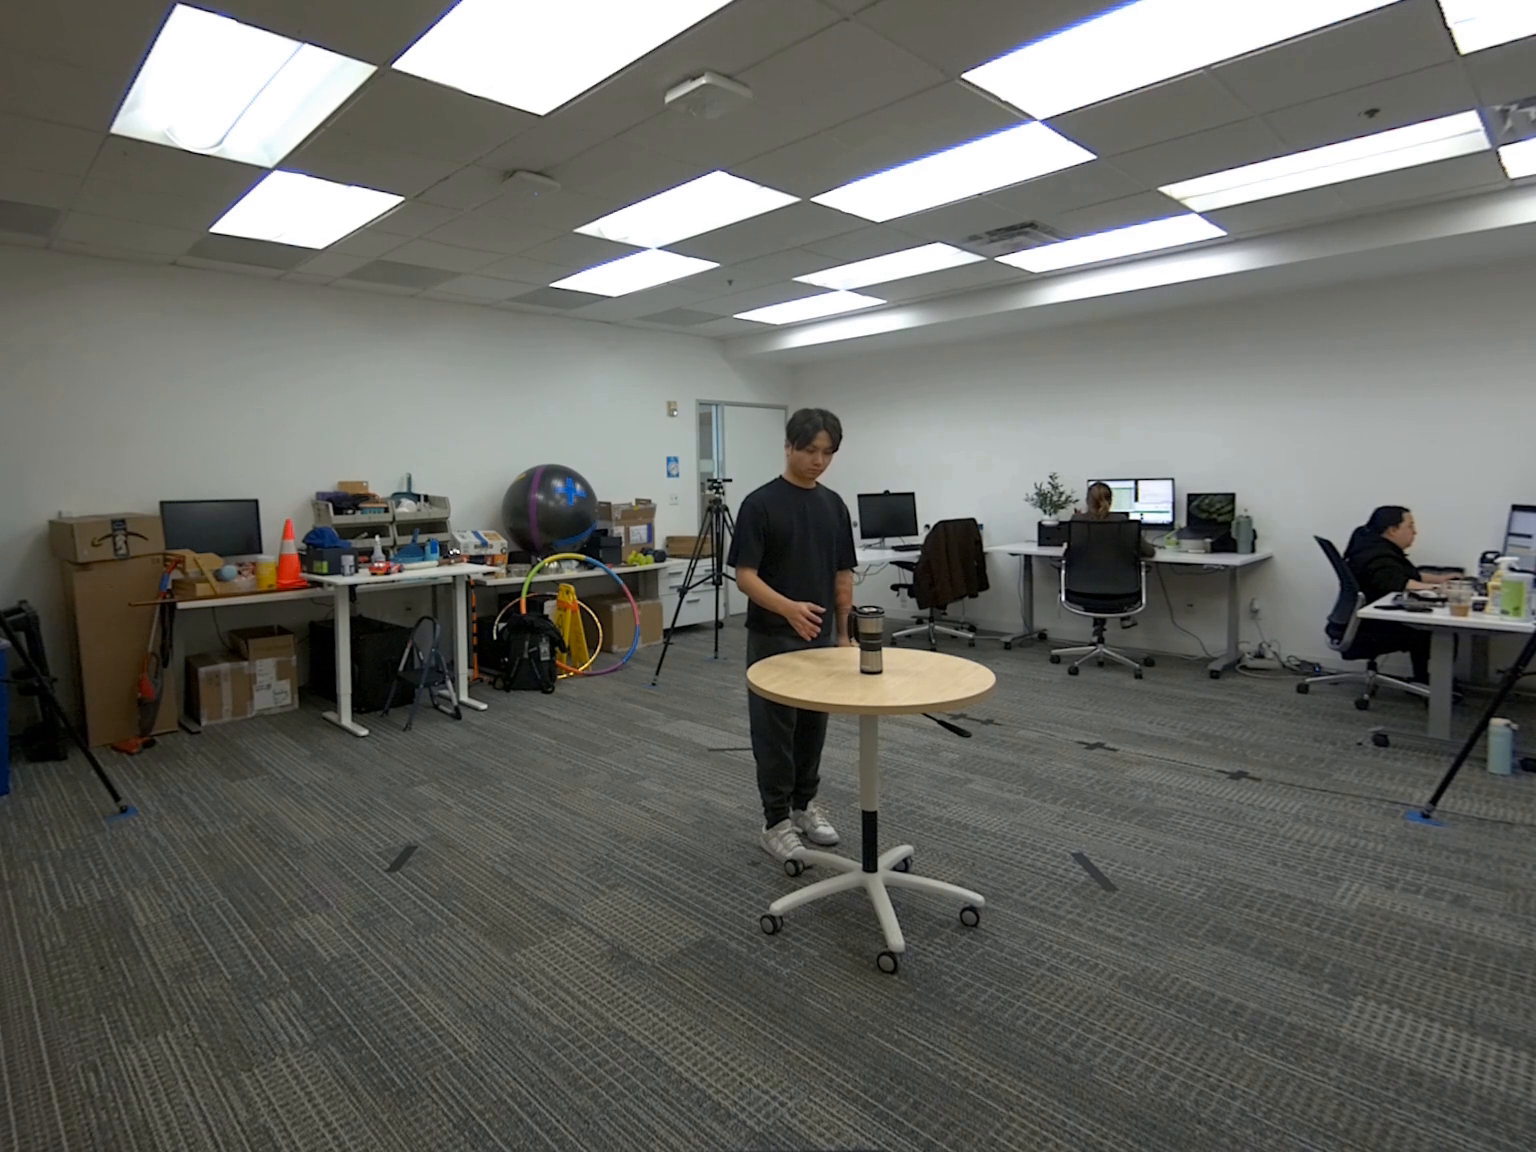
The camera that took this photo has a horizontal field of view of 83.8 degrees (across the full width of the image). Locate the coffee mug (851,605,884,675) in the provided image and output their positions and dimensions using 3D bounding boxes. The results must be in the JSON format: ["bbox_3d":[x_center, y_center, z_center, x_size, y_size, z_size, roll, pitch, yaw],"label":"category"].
[{"bbox_3d":[0.315,0.202,2.699,0.086,0.201,0.125,-9,10,-29],"label":"coffee mug"}]
